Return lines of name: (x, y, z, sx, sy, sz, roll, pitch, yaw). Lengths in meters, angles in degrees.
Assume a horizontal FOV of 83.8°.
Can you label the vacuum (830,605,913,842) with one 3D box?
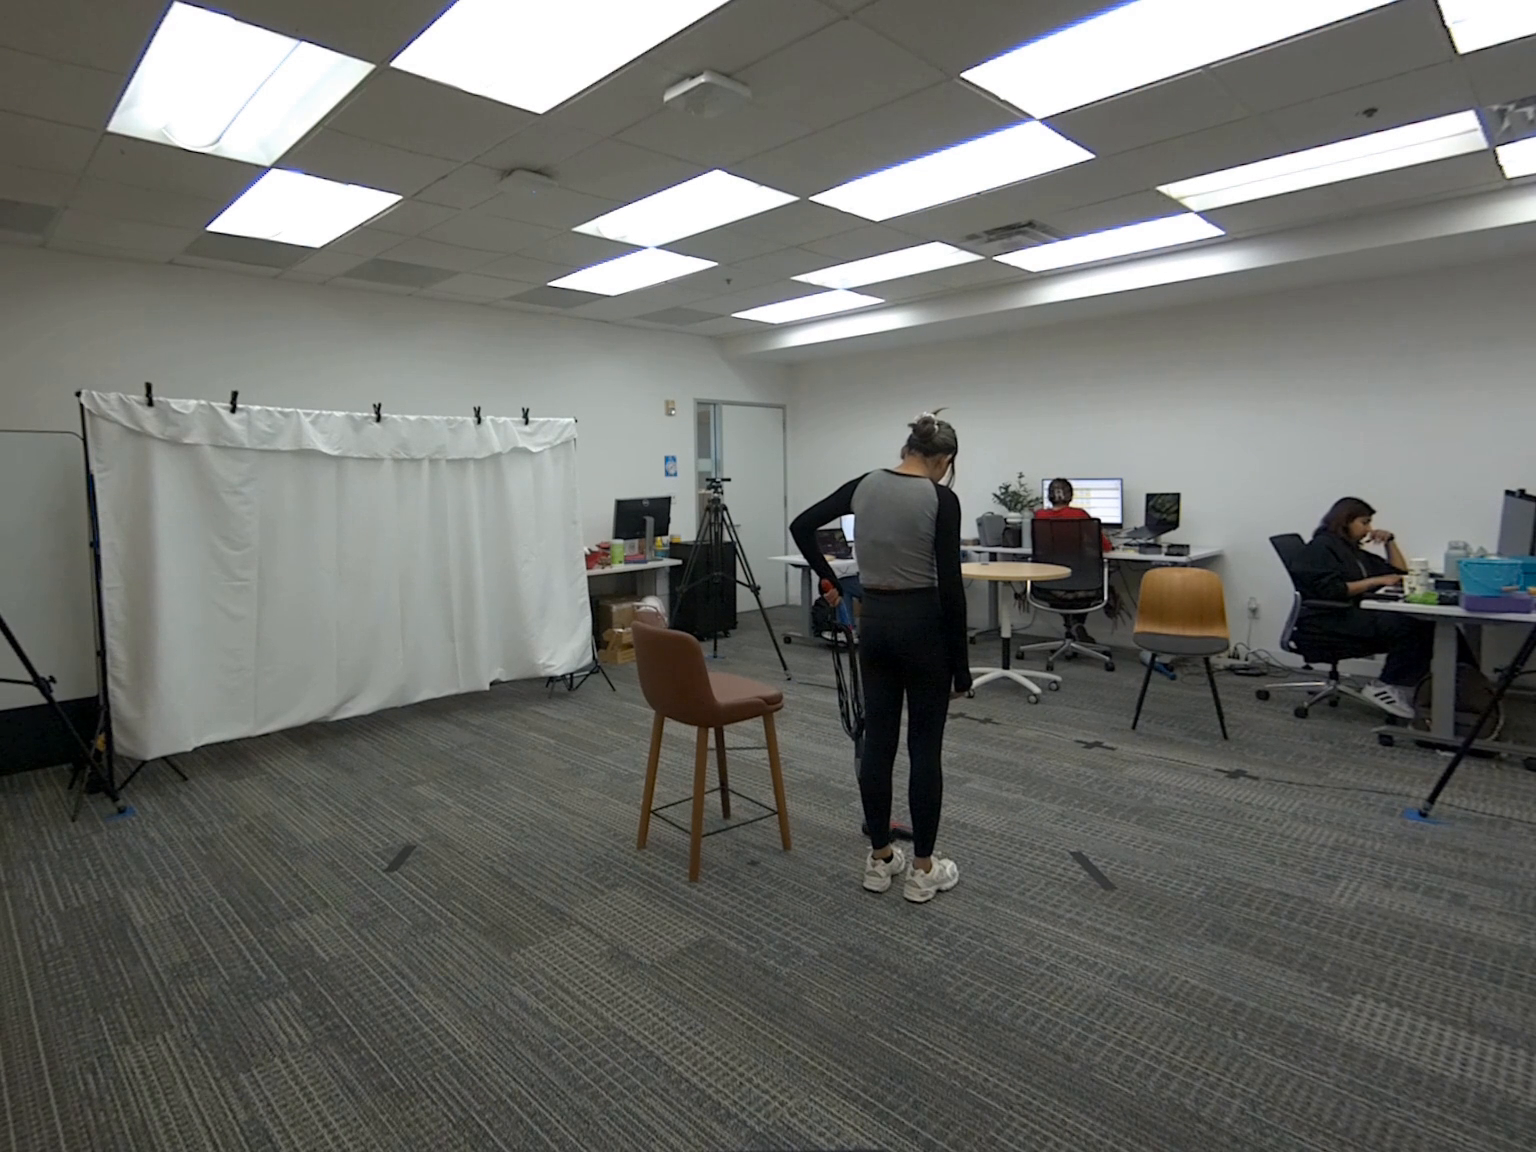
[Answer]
vacuum: (0.336, 0.523, 3.236, 0.259, 1.035, 0.142, -3, 16, 41)
